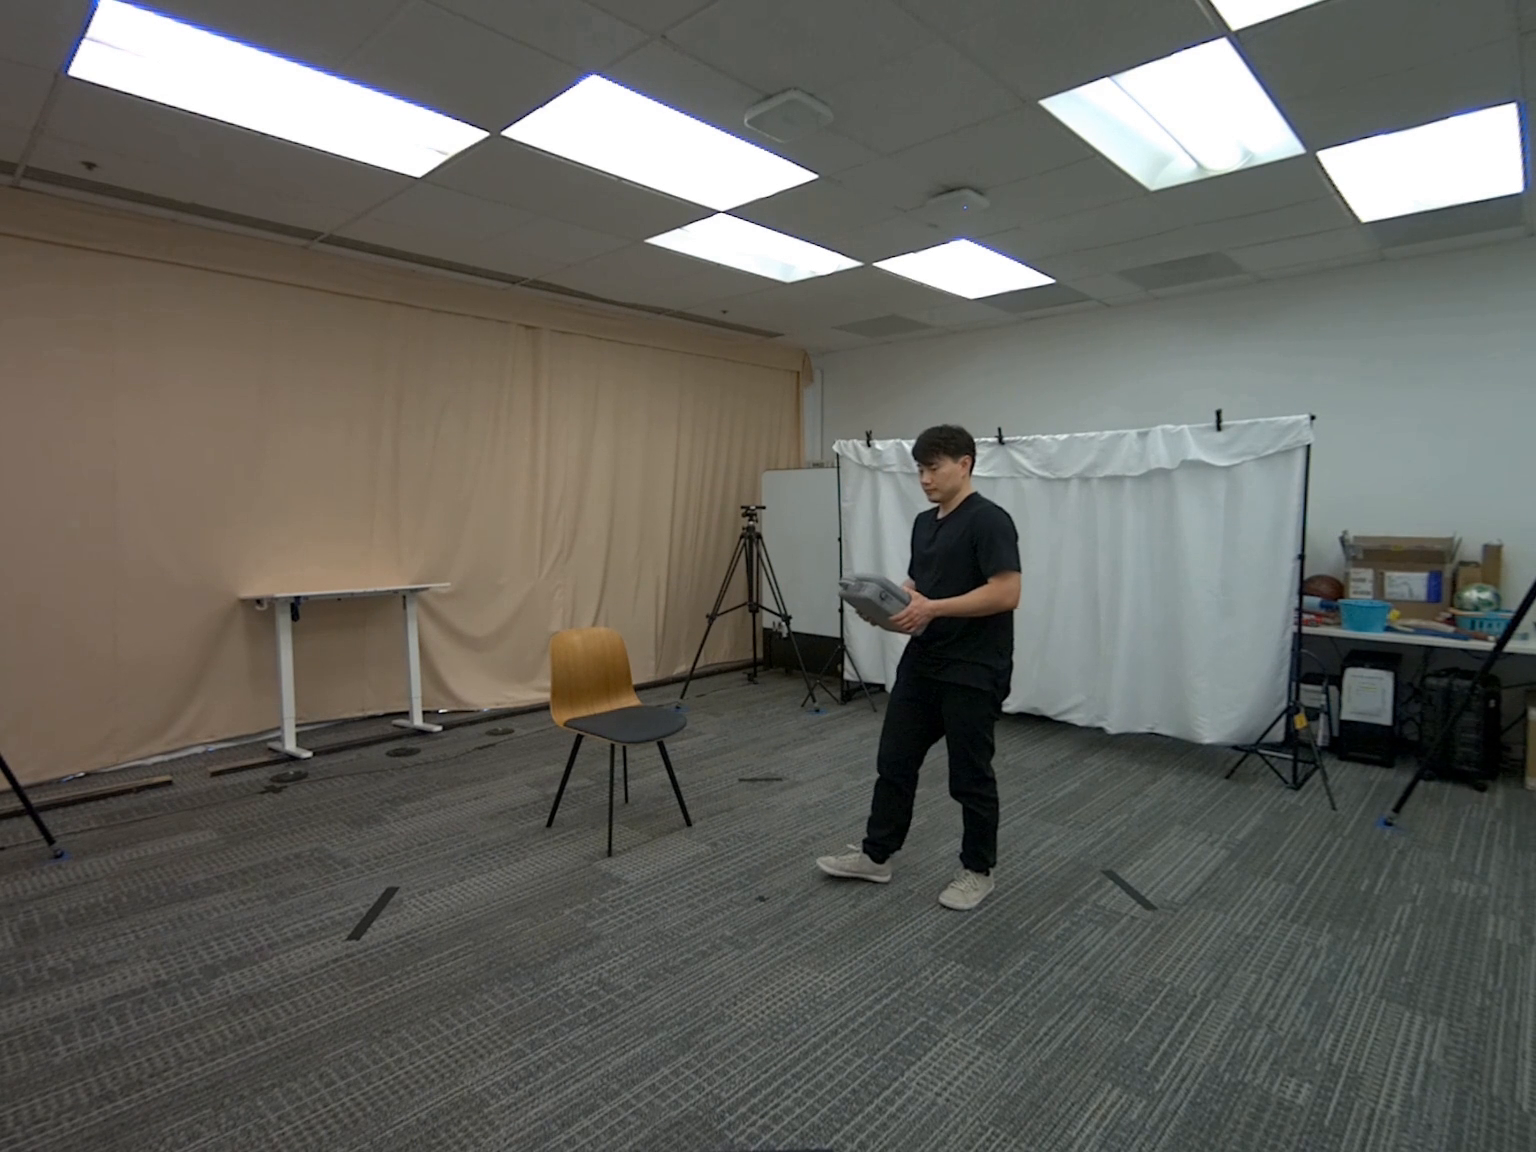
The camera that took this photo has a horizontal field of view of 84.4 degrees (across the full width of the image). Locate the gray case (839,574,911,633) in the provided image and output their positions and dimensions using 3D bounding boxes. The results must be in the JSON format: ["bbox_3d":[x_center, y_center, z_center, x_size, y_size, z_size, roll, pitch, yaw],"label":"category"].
[{"bbox_3d":[0.396,0.090,2.871,0.257,0.104,0.261,36,-11,-13],"label":"gray case"}]
